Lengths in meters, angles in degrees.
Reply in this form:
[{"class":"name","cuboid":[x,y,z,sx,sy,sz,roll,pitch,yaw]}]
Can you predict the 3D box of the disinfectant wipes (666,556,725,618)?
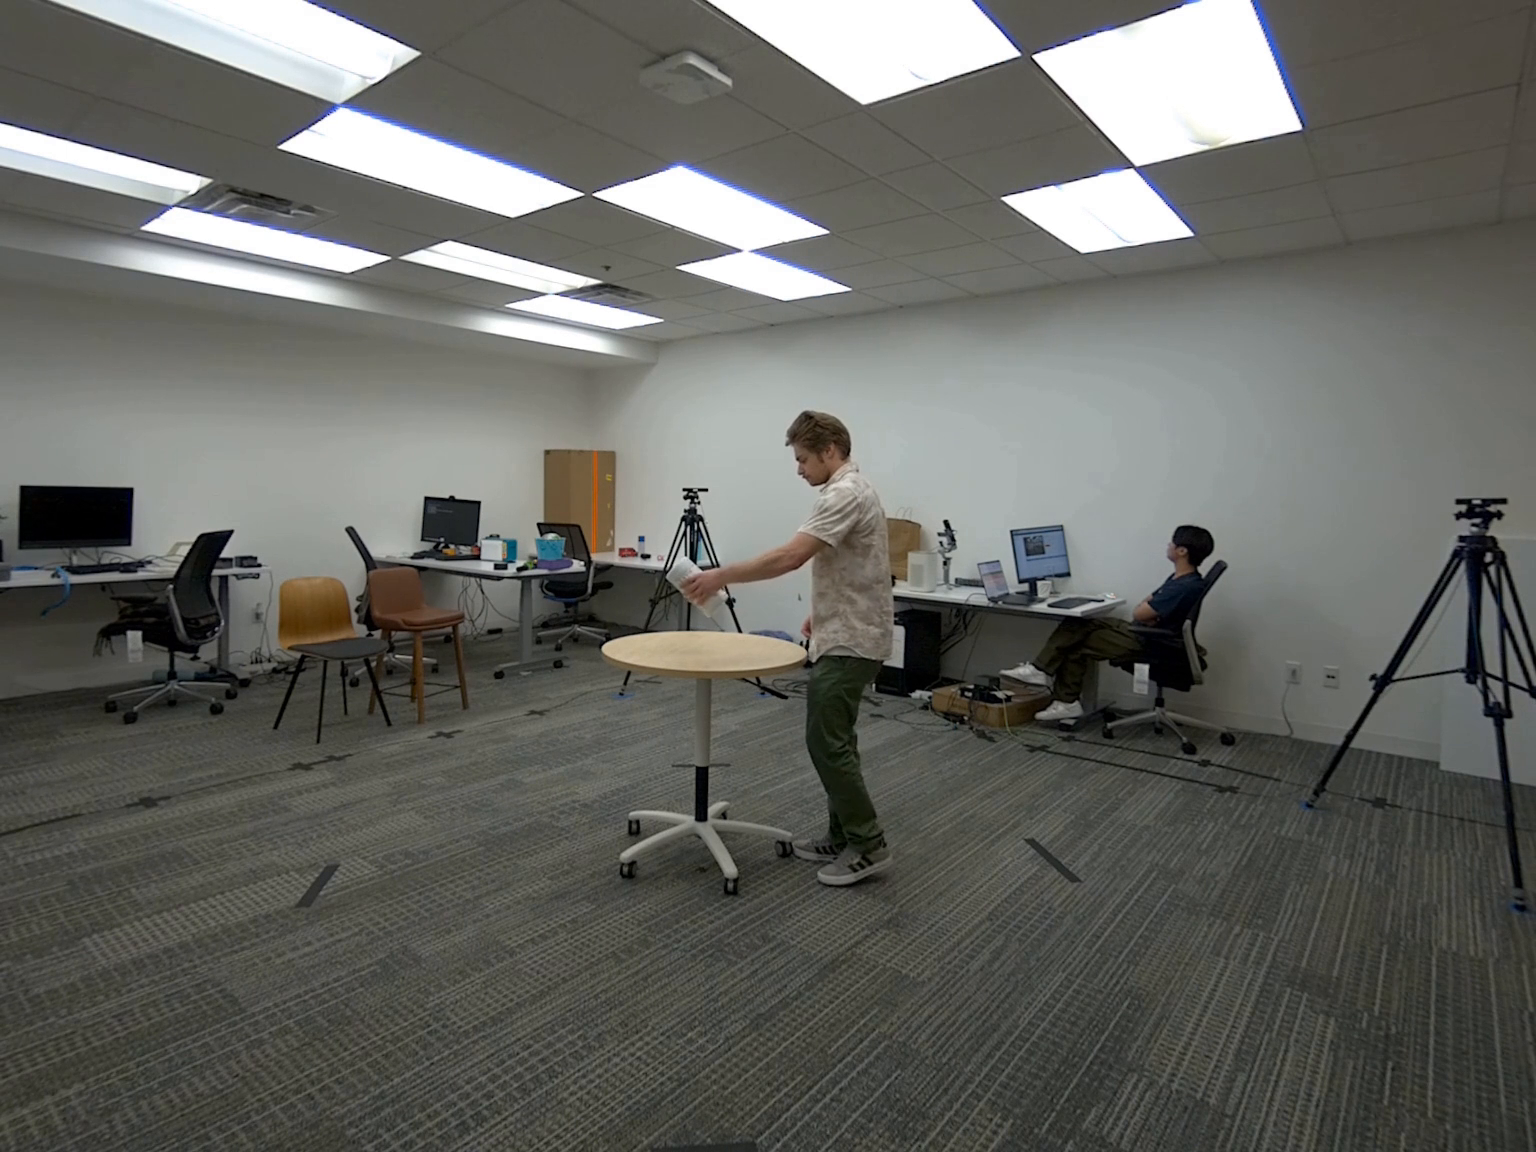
[{"class":"disinfectant wipes","cuboid":[-0.264,0.031,3.064,0.219,0.117,0.117,36,7,4]}]
